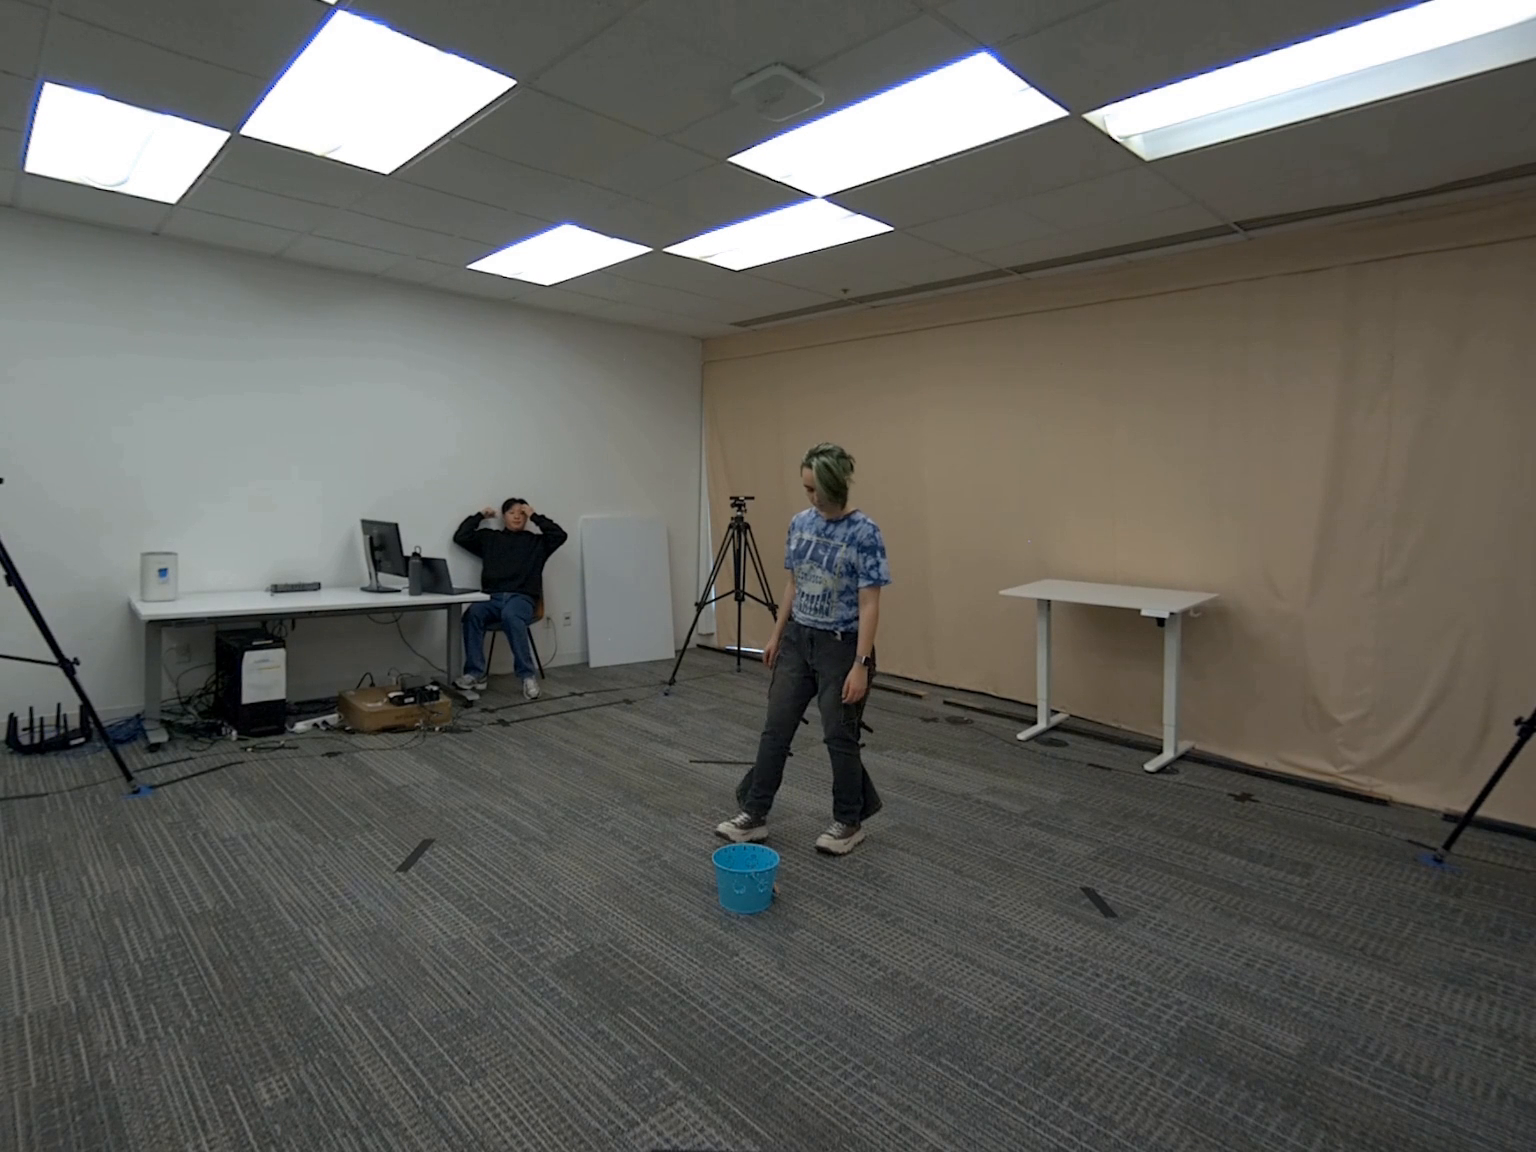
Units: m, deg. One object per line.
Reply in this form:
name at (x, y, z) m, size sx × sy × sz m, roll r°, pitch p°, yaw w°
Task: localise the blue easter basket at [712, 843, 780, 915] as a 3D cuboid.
blue easter basket at (-0.080, 1.046, 2.903) m, size 0.243 × 0.155 × 0.245 m, roll 1°, pitch 6°, yaw -1°
